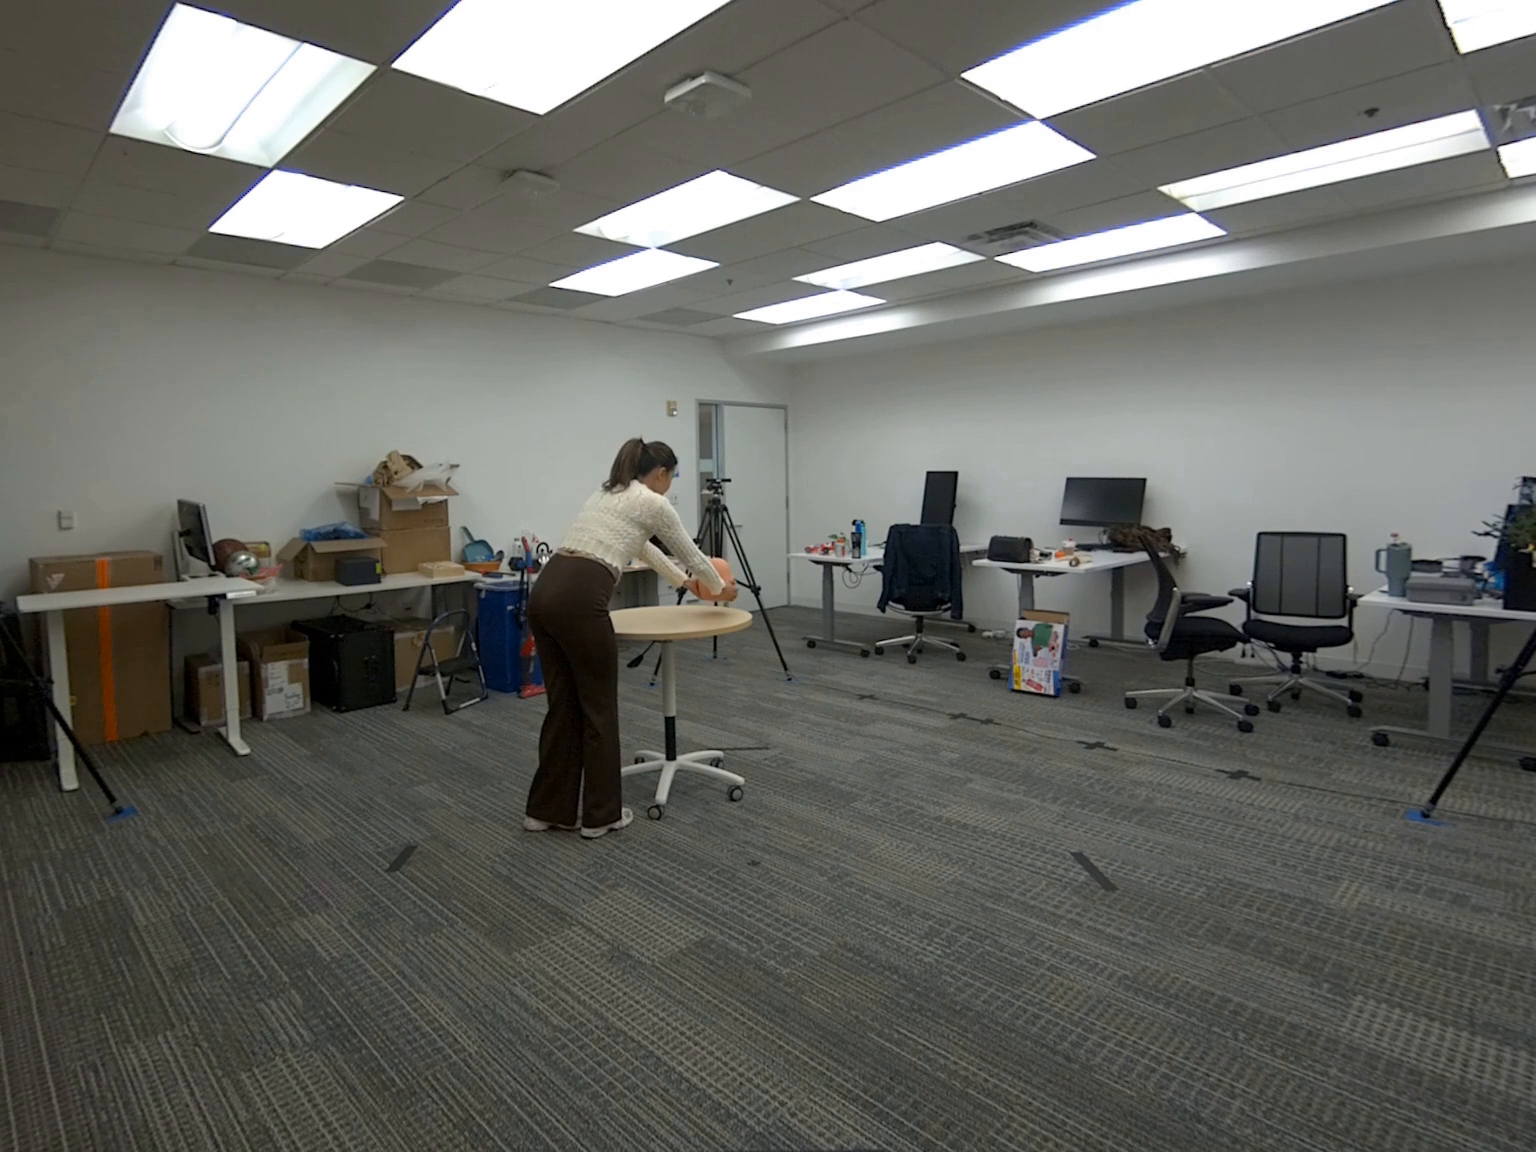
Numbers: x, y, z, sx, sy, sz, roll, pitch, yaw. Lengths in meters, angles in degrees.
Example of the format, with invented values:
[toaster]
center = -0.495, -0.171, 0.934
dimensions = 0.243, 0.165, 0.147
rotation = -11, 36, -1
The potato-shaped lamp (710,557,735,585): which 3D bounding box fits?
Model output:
[potato-shaped lamp]
center = -0.228, 0.017, 3.898
dimensions = 0.167, 0.197, 0.170
rotation = -1, 4, -39
